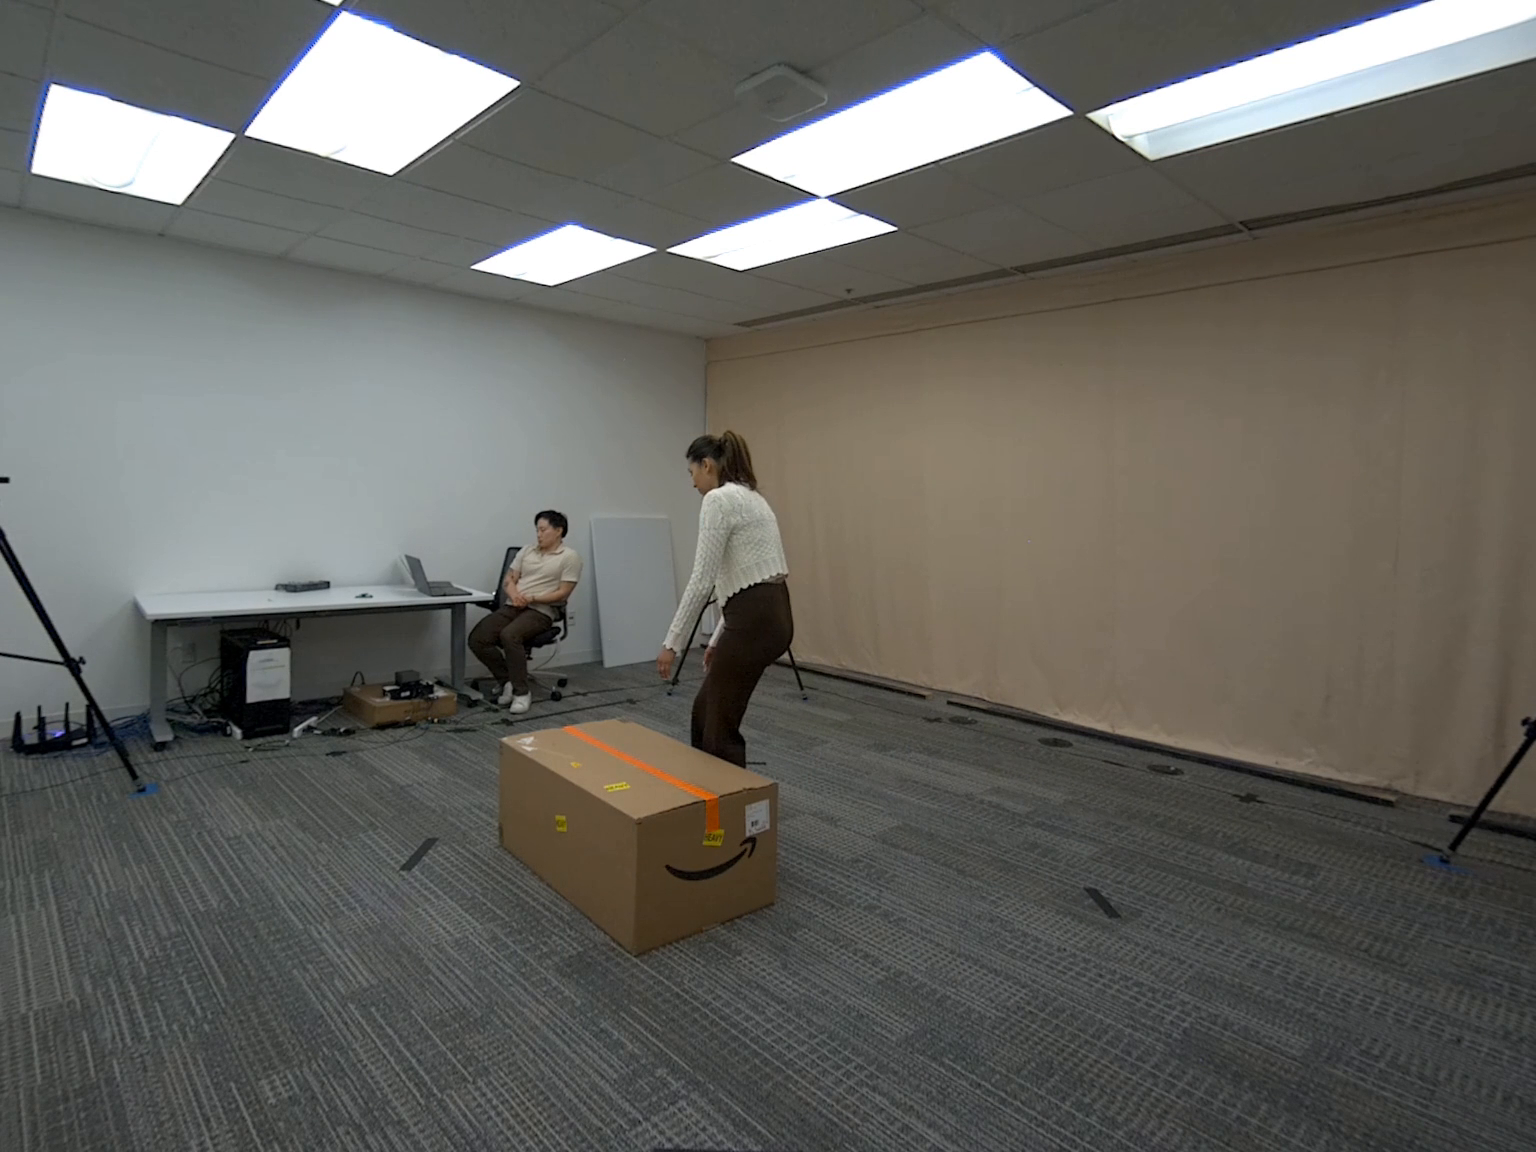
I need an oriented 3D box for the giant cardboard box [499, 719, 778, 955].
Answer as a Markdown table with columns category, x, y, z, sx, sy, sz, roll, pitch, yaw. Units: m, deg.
| category | x | y | z | sx | sy | sz | roll | pitch | yaw |
| --- | --- | --- | --- | --- | --- | --- | --- | --- | --- |
| giant cardboard box | -0.519 | 0.881 | 3.096 | 0.565 | 0.425 | 1.052 | -3 | 7 | -40 |
